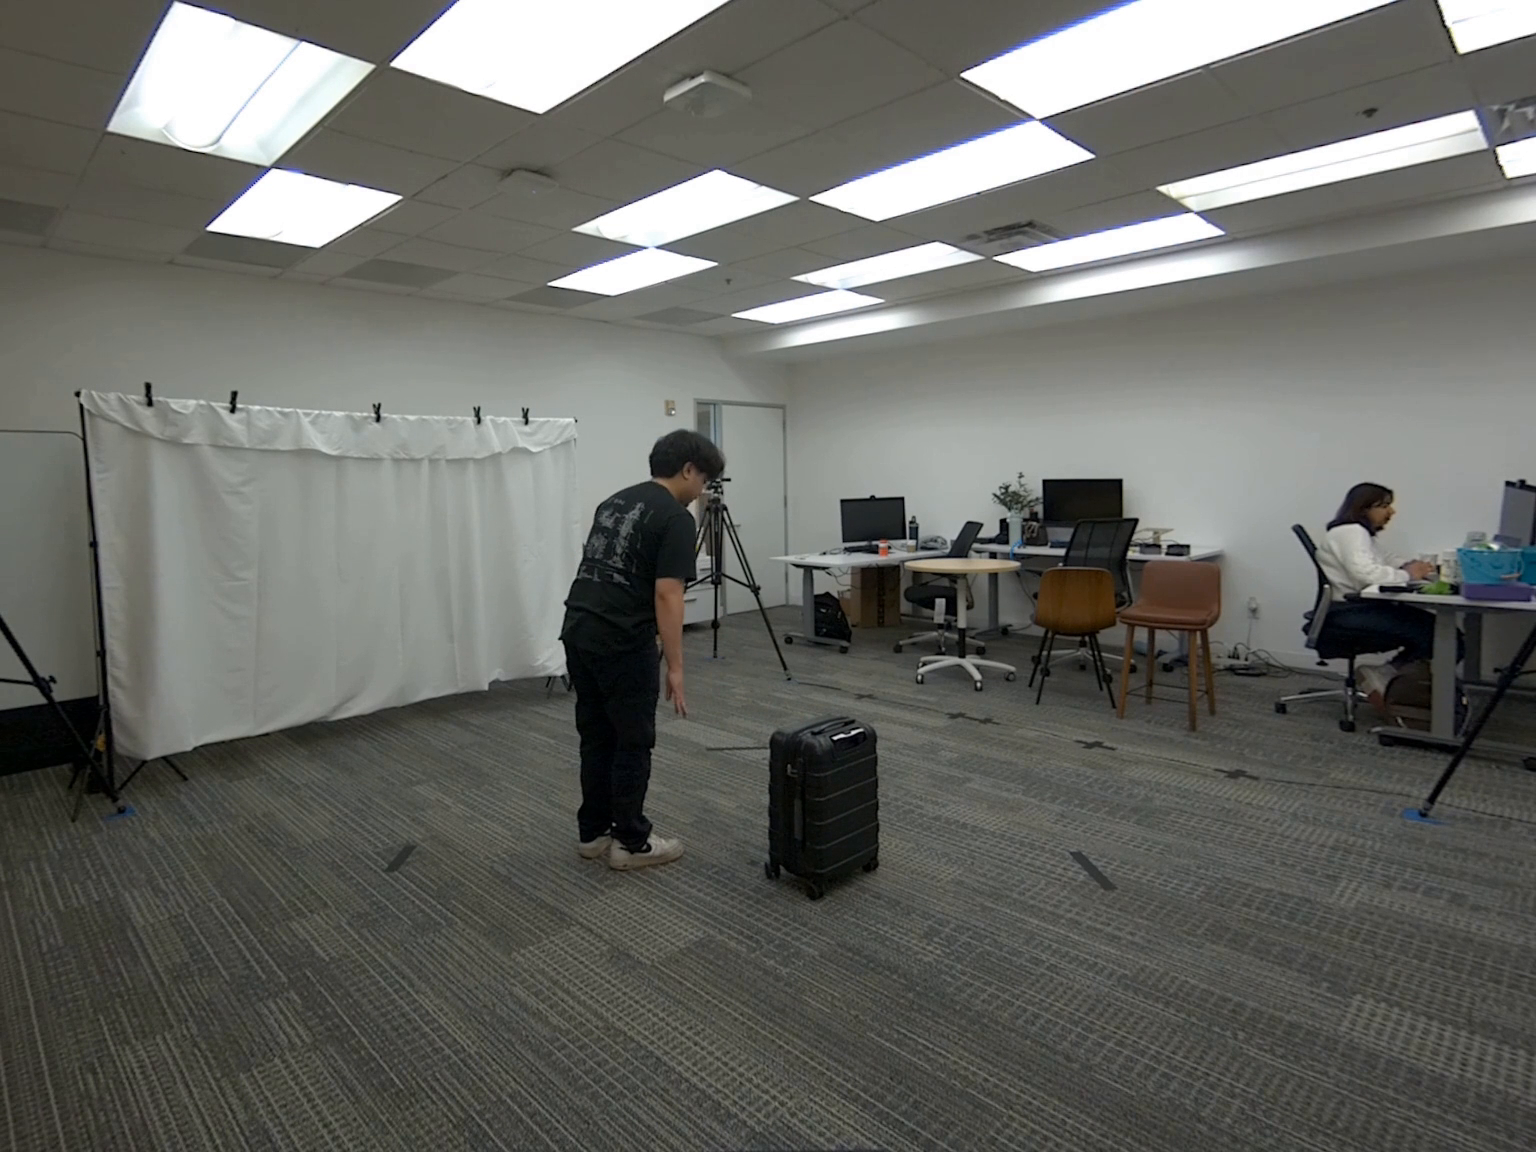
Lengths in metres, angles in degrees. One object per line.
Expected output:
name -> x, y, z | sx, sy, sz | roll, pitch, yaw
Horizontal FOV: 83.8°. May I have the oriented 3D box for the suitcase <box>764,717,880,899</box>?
suitcase -> 0.194, 0.774, 2.974 | 0.365, 0.547, 0.256 | -6, 8, -44
